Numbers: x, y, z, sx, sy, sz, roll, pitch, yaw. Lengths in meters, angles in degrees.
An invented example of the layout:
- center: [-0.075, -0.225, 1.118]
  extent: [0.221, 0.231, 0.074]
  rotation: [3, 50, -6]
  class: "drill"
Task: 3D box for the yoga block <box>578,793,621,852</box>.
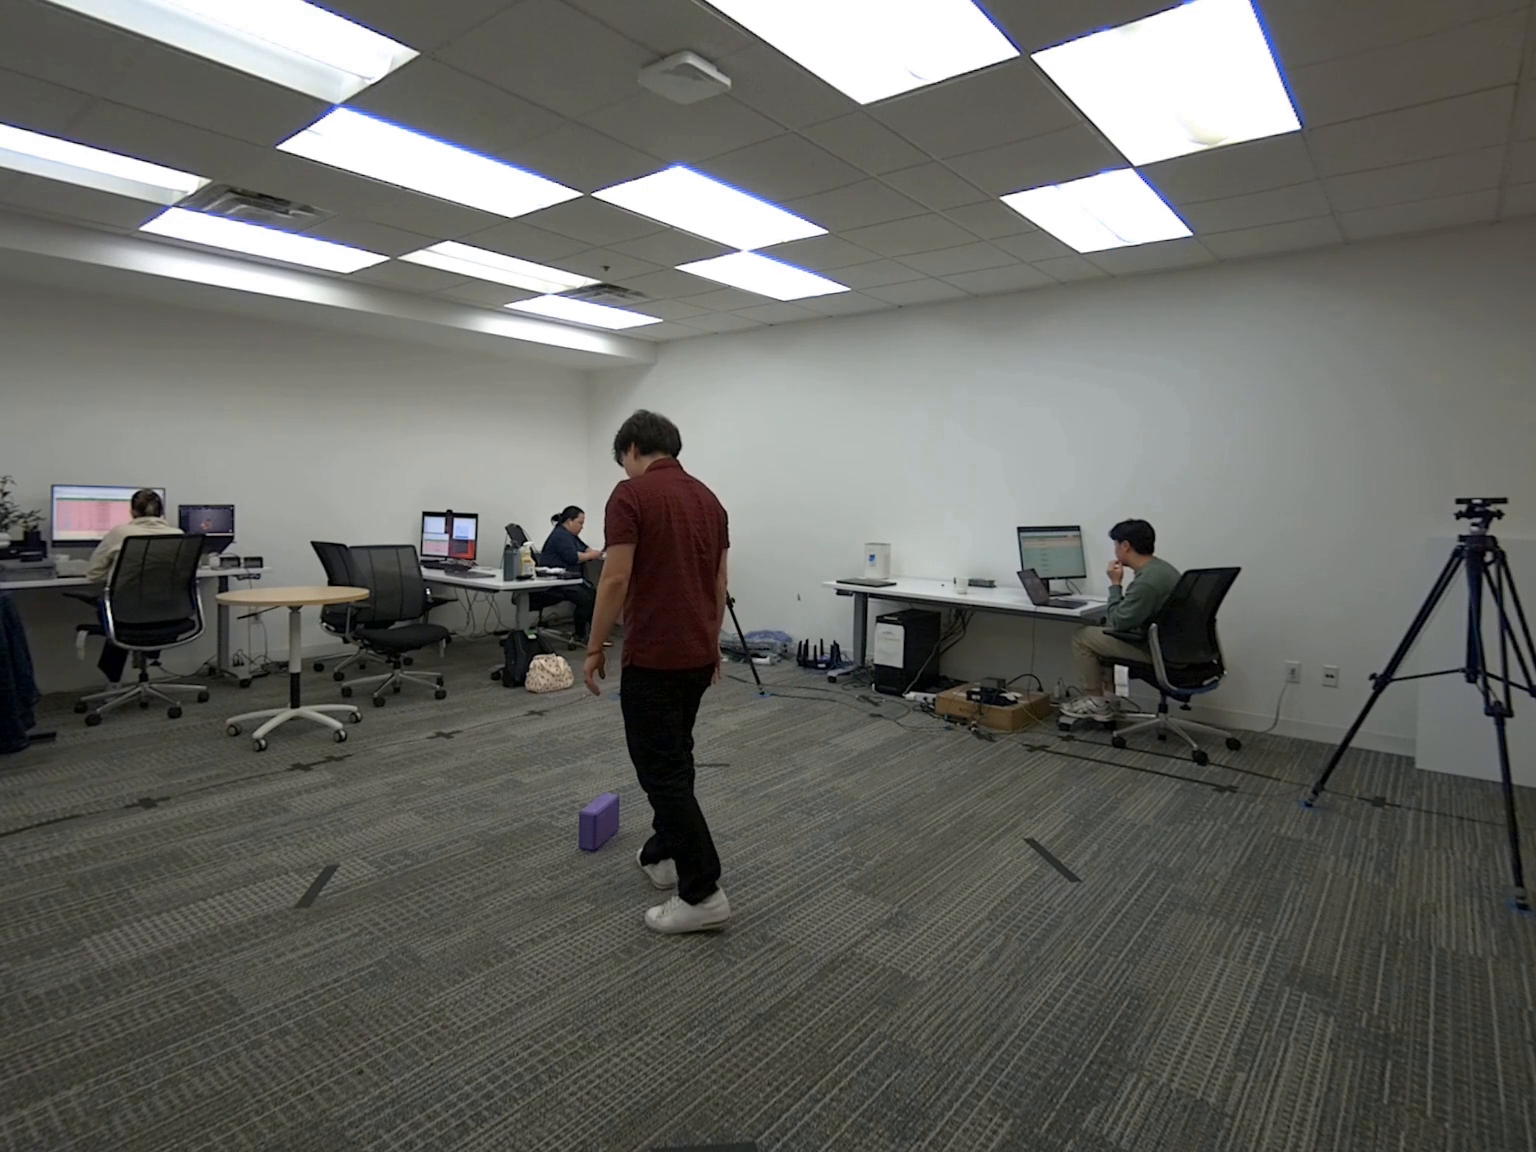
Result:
- center: [-0.676, 0.961, 3.353]
  extent: [0.078, 0.148, 0.226]
  rotation: [1, 4, 15]
  class: "yoga block"
